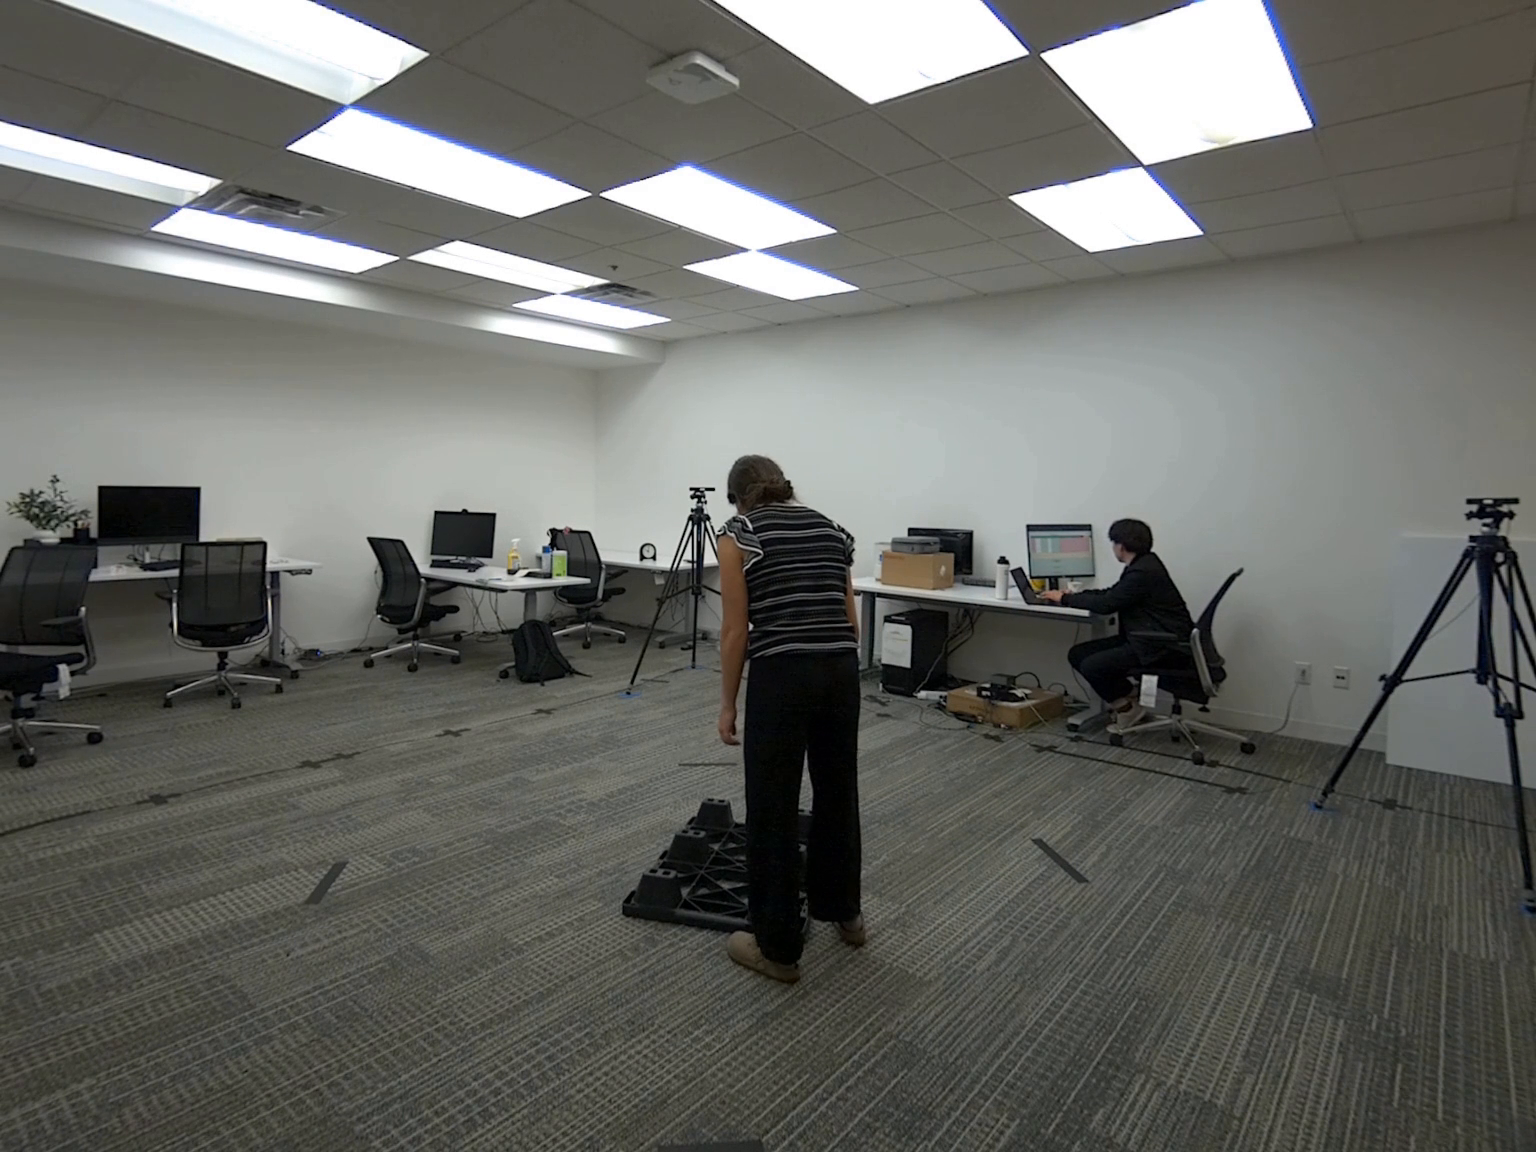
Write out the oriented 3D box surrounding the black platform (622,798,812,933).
[{"bbox_3d":[-0.109,1.008,3.047,0.615,0.143,0.796,2,6,13],"label":"black platform"}]
